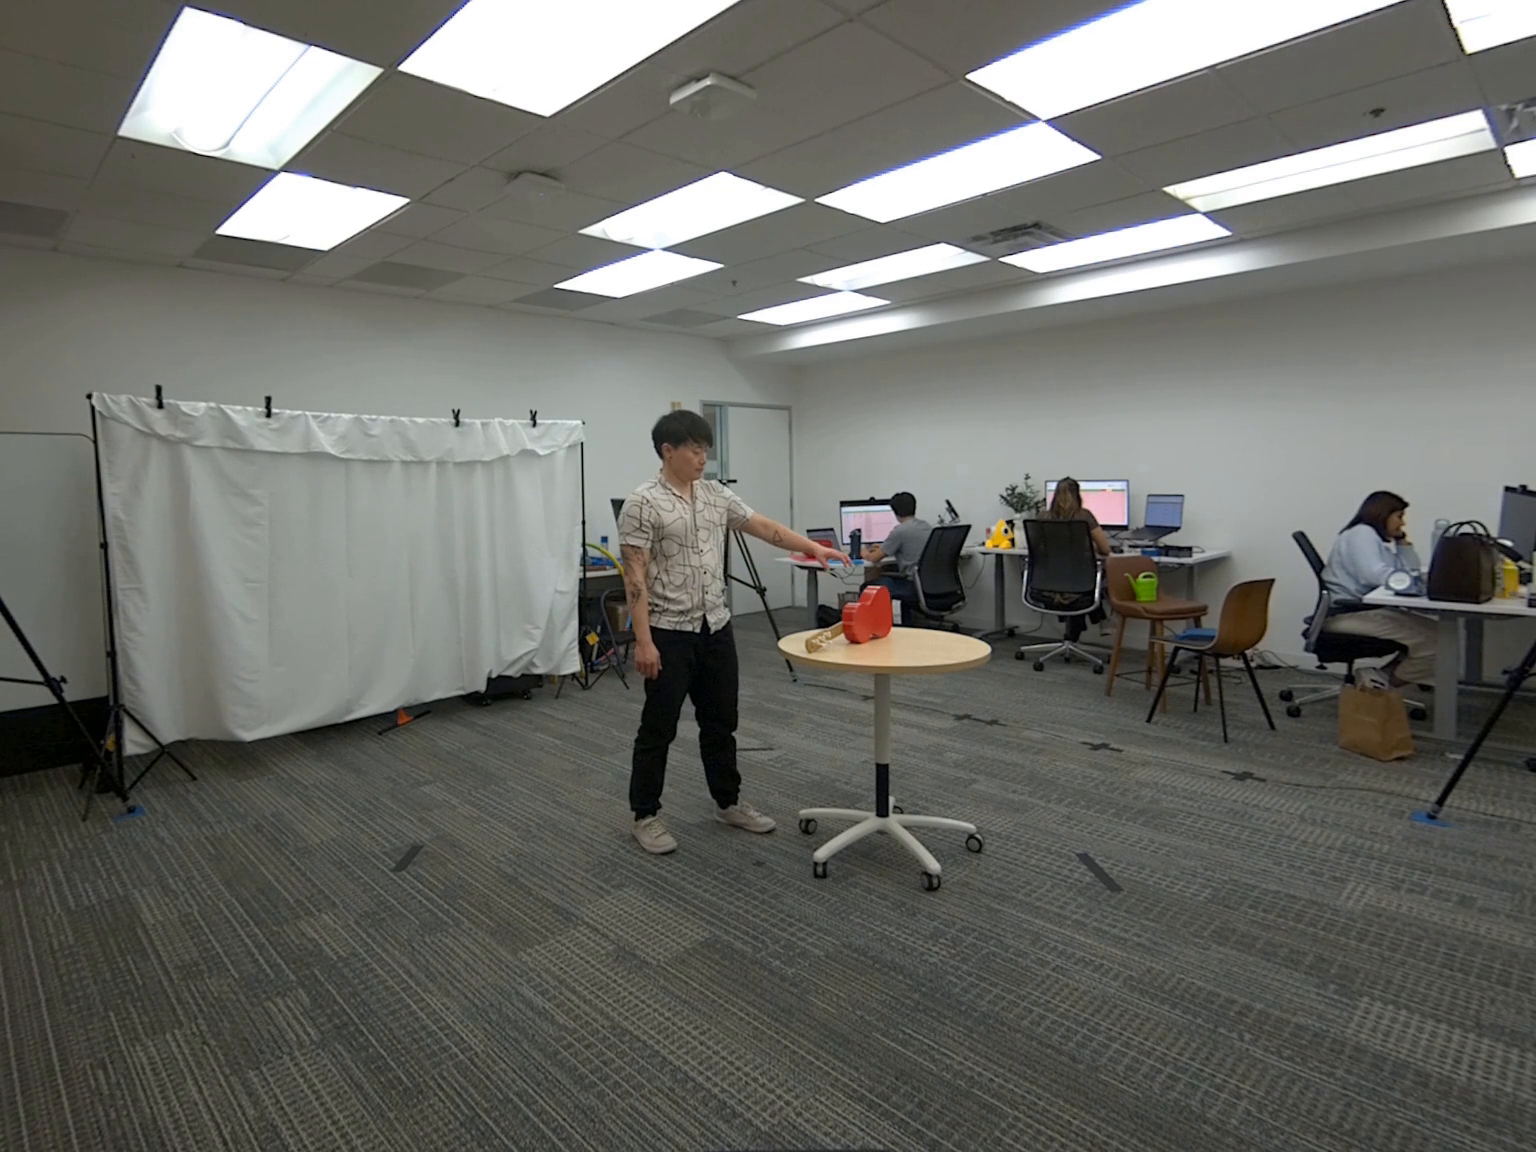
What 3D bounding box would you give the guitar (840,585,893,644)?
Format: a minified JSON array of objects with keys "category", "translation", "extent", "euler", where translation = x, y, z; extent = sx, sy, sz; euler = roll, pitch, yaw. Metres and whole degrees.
[{"category":"guitar","translation":[0.306,0.207,3.157],"extent":[0.073,0.189,0.493],"euler":[2,25,39]}]
